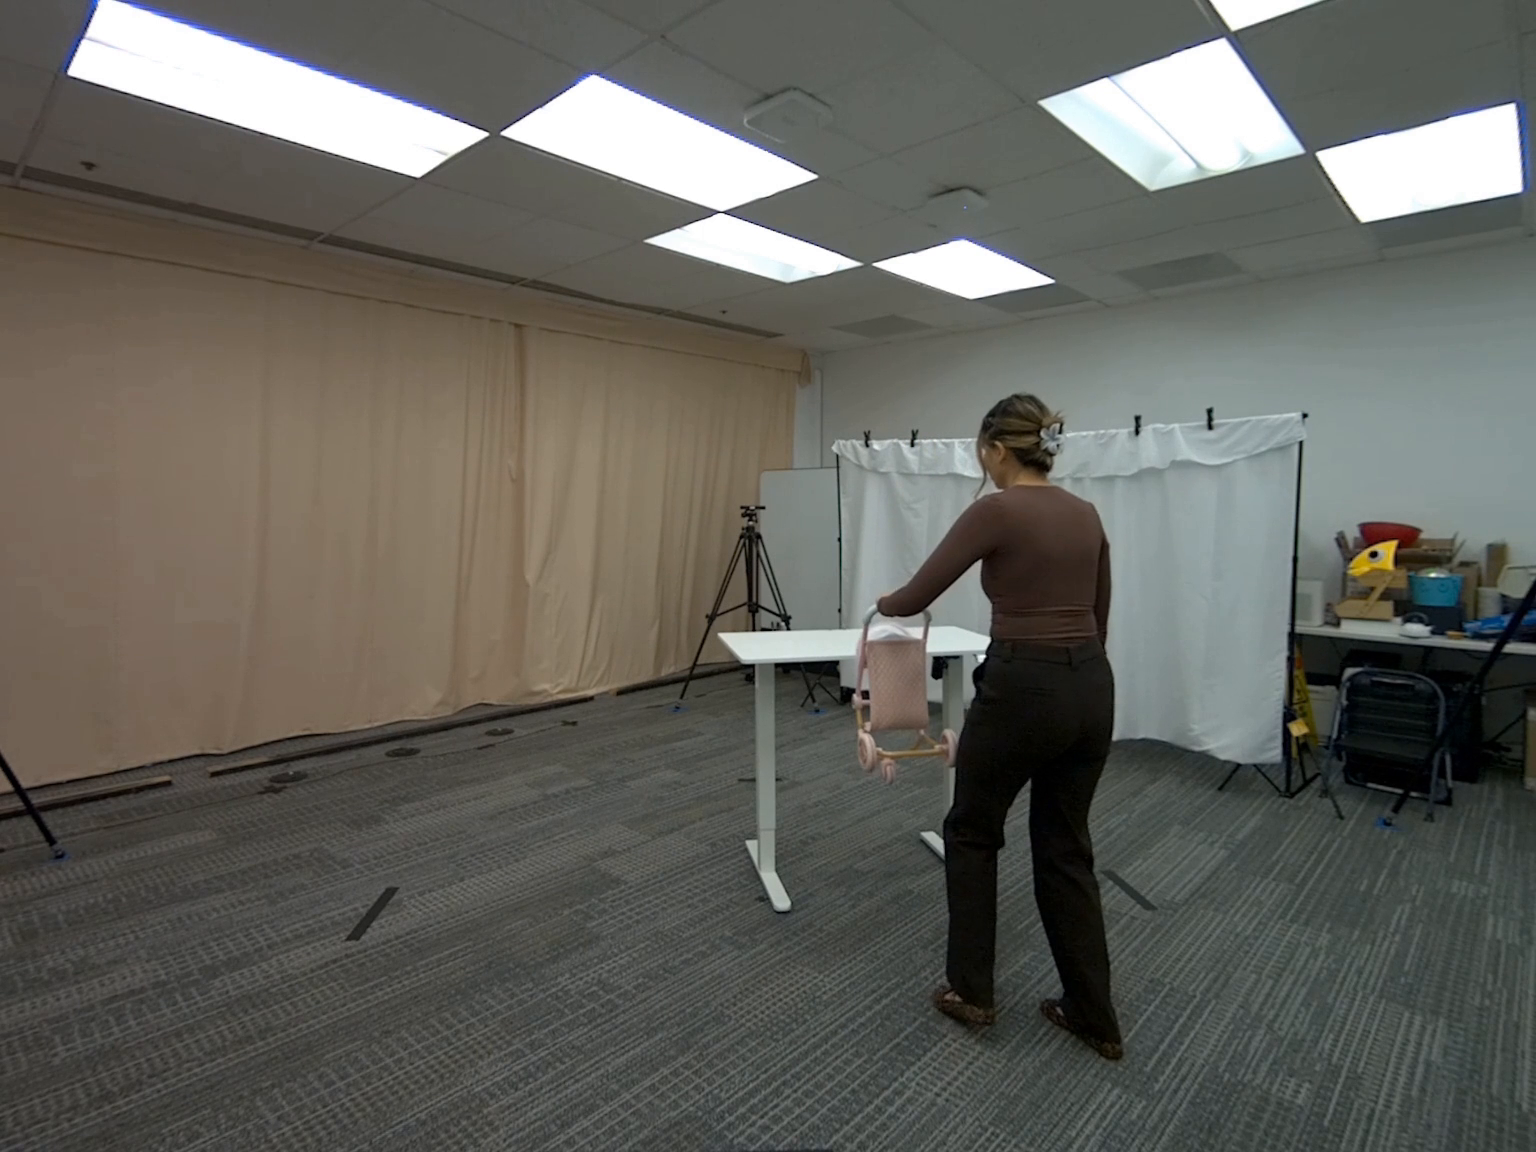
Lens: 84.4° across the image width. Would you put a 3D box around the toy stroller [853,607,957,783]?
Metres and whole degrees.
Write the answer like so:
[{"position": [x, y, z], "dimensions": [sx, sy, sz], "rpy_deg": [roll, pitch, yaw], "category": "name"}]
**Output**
[{"position": [0.390, 0.370, 2.594], "dimensions": [0.281, 0.539, 0.339], "rpy_deg": [-4, -11, -4], "category": "toy stroller"}]
